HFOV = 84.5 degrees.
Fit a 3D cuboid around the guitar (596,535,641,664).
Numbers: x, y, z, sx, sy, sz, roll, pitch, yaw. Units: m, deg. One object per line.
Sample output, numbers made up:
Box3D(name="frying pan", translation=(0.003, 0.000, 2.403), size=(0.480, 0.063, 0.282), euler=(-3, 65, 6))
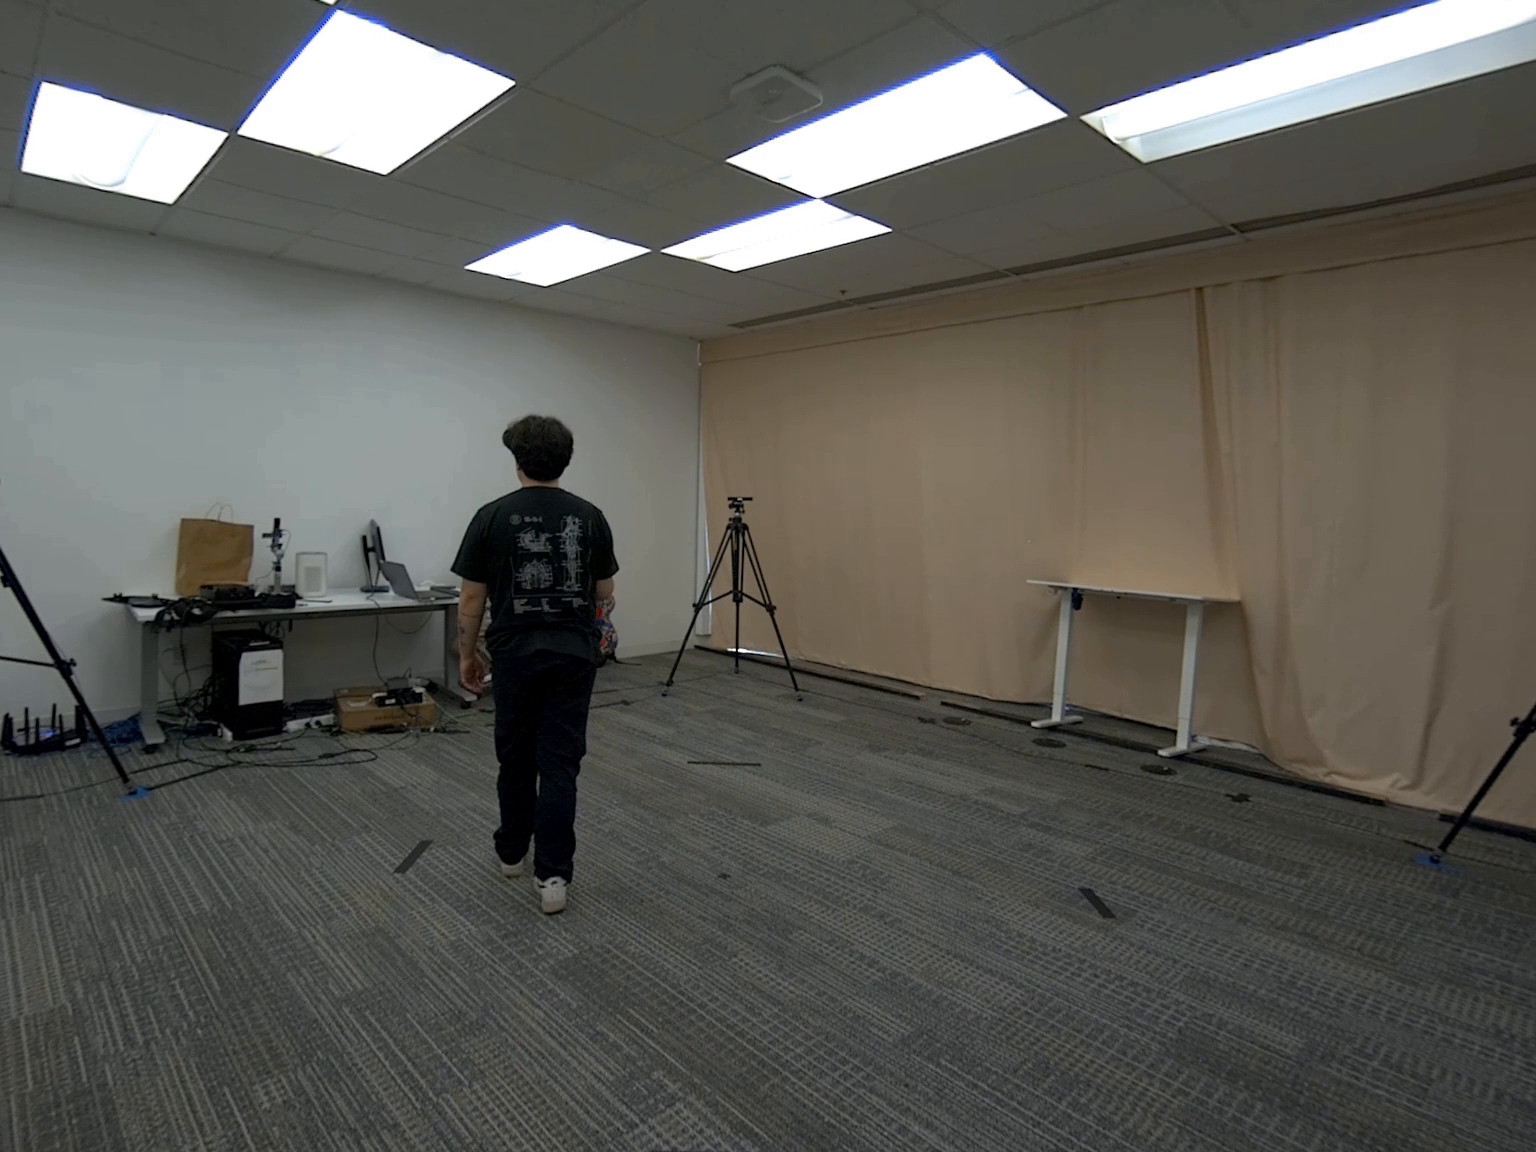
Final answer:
Box3D(name="guitar", translation=(-0.672, 0.083, 3.418), size=(0.191, 0.500, 0.071), euler=(13, -7, -8))
